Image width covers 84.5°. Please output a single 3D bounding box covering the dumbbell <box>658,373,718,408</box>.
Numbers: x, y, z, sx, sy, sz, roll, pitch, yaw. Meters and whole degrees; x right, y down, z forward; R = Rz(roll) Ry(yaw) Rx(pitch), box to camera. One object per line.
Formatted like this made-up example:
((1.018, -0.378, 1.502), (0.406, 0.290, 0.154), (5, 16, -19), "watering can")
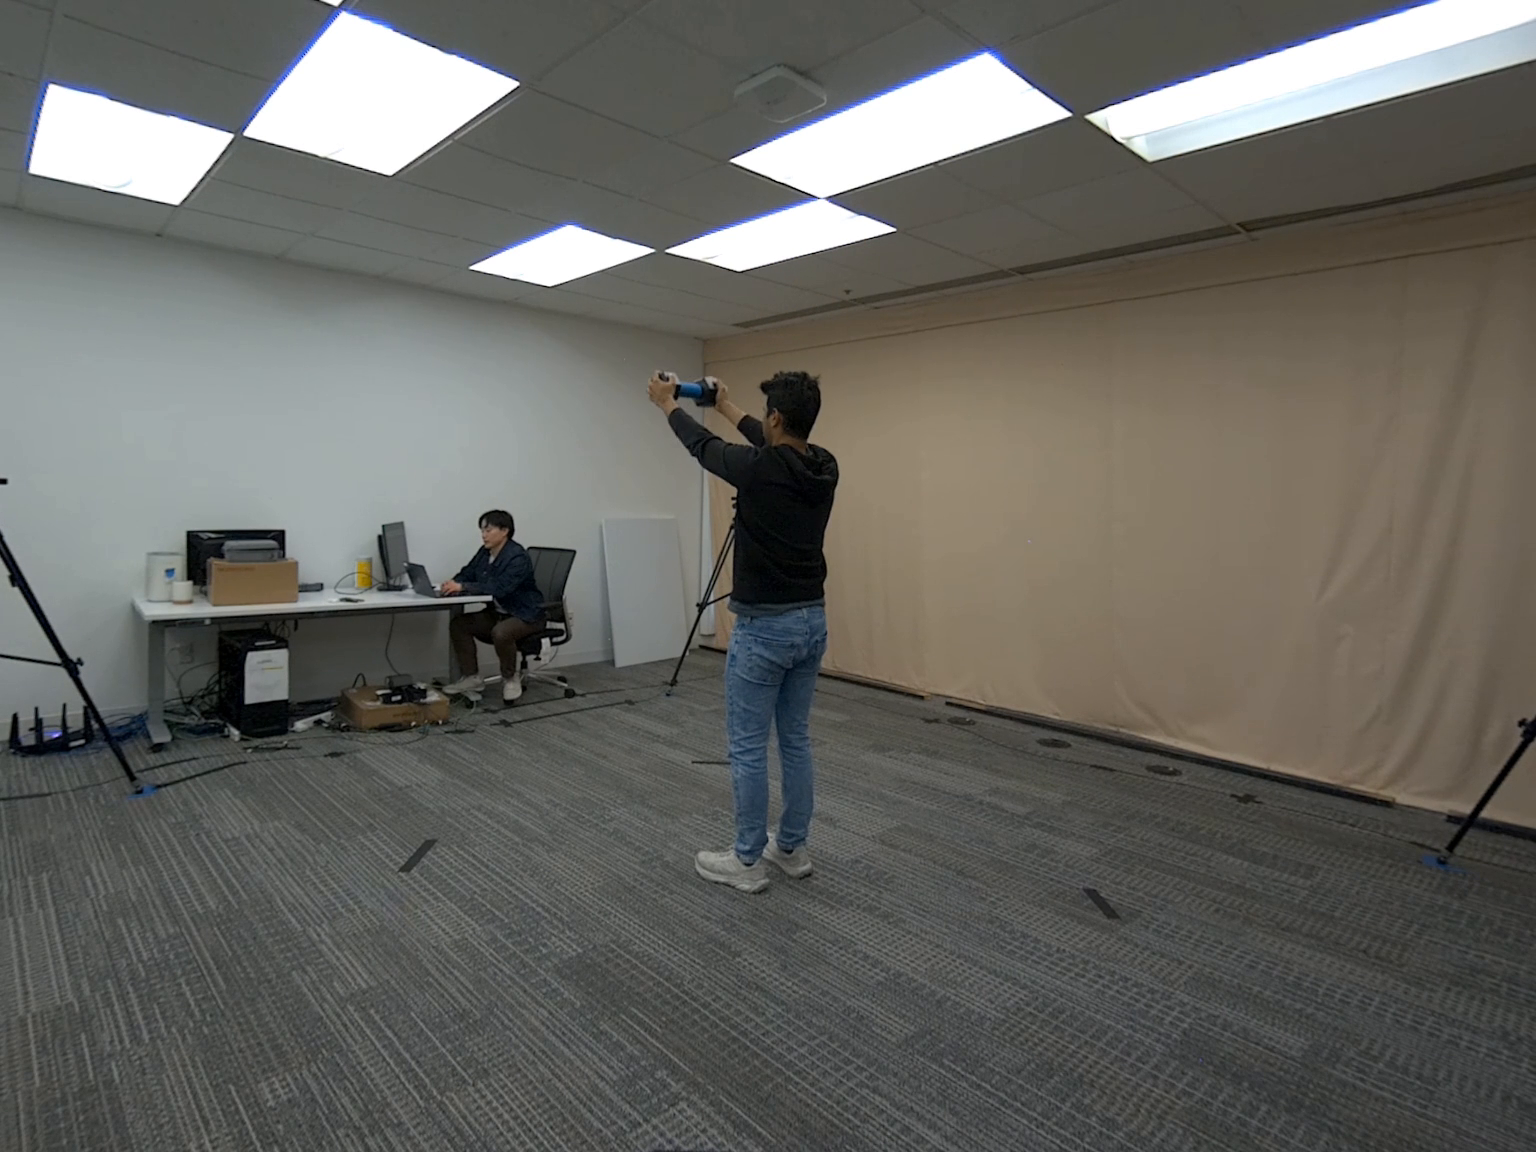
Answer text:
((-0.329, -0.734, 3.339), (0.287, 0.122, 0.112), (-5, 31, -45), "dumbbell")
